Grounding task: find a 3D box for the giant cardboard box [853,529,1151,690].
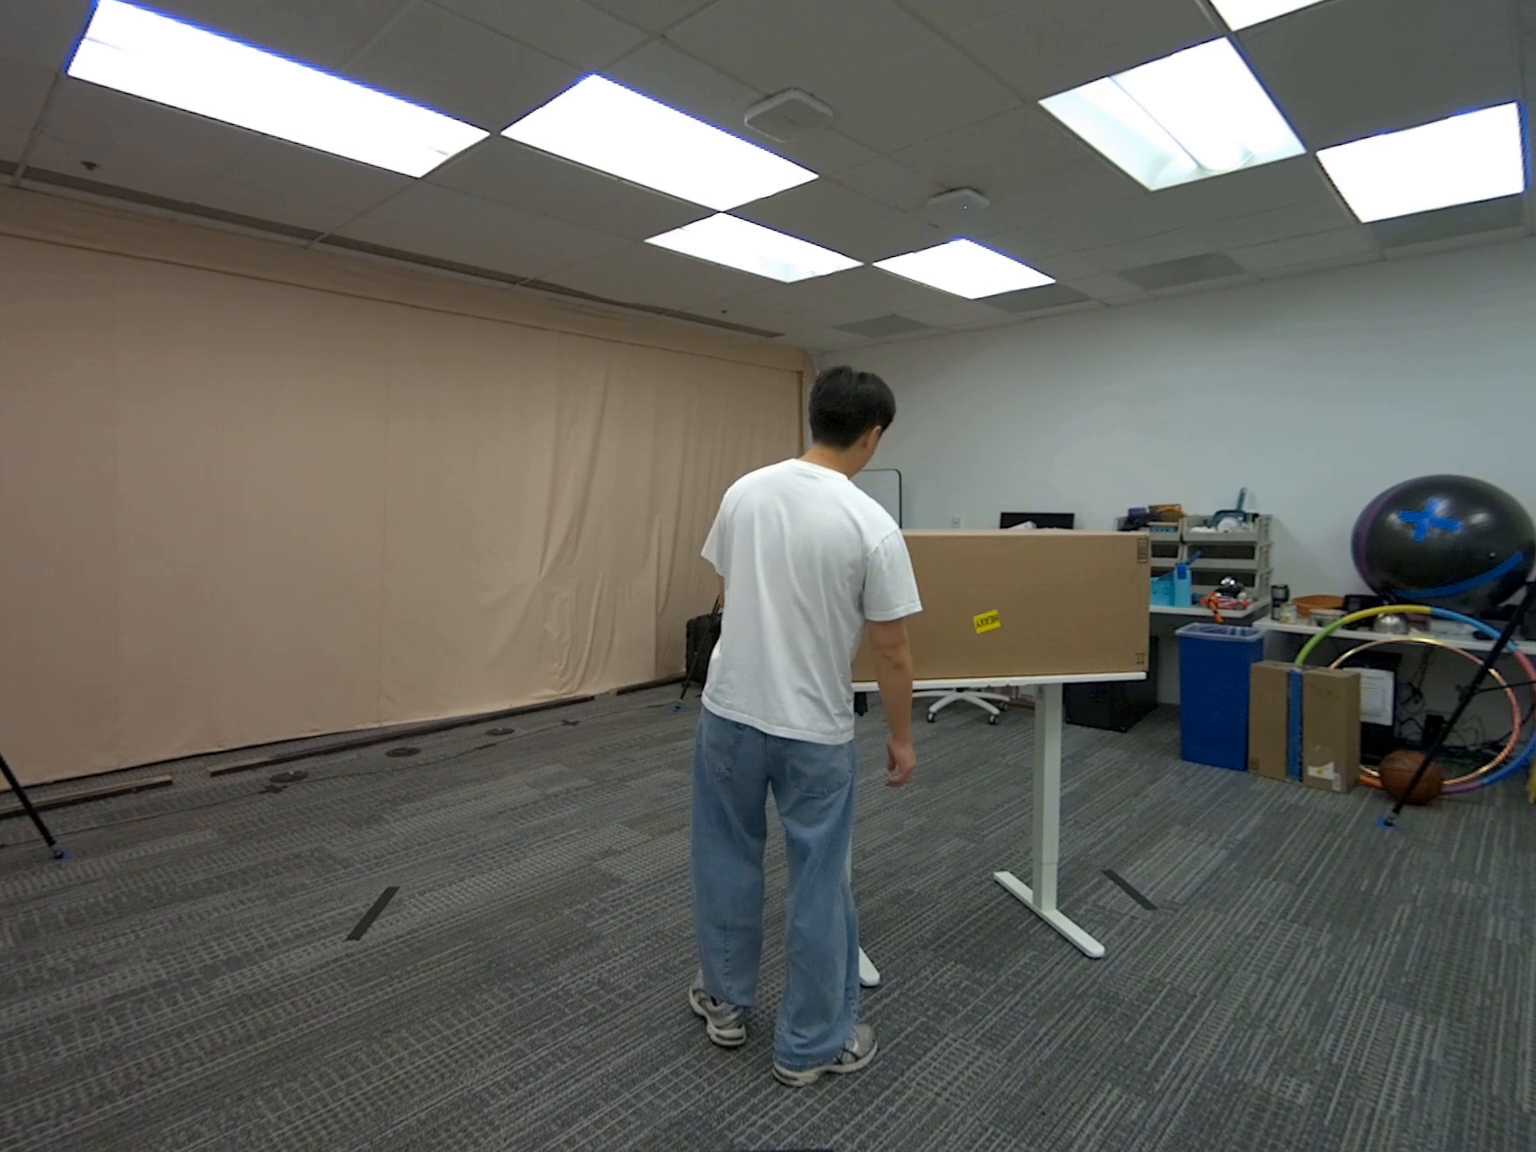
[{"bbox_3d":[0.608,0.068,2.753,1.013,0.425,0.586,0,3,-12],"label":"giant cardboard box"}]
